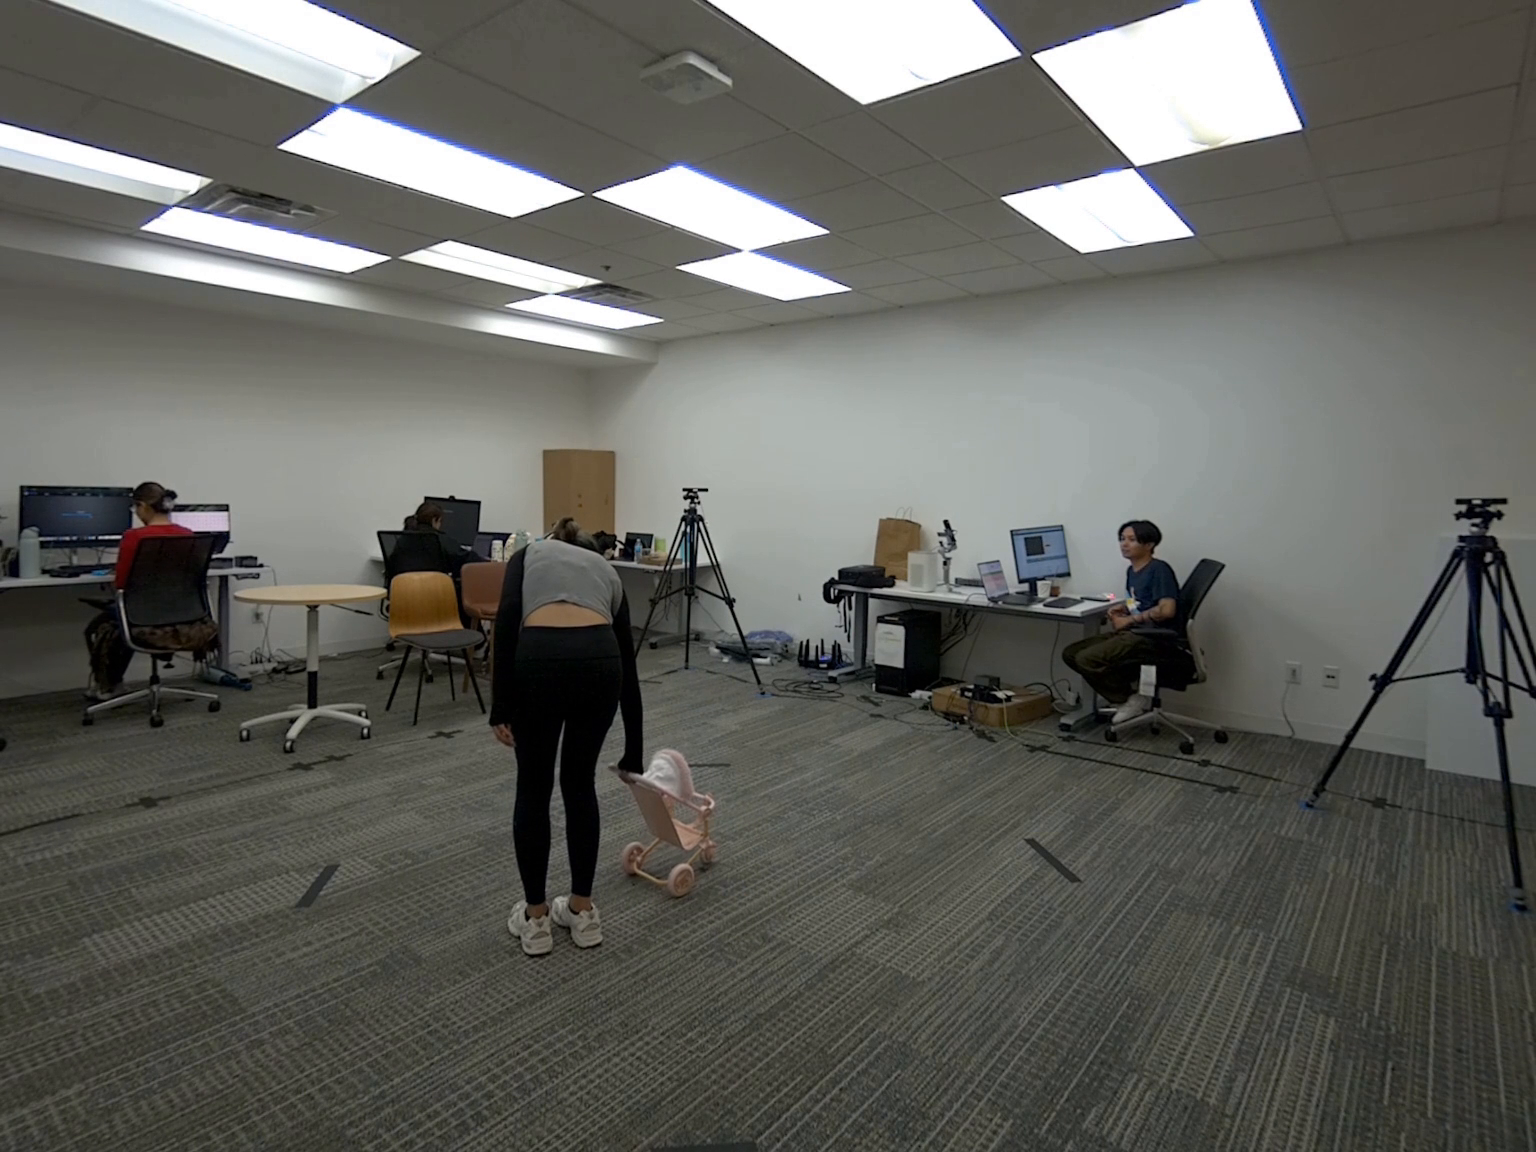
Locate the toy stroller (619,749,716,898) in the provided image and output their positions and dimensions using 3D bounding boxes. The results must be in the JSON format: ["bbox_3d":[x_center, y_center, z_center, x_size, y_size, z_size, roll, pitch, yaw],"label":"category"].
[{"bbox_3d":[-0.353,0.848,3.020,0.335,0.527,0.291,-21,17,-40],"label":"toy stroller"}]
